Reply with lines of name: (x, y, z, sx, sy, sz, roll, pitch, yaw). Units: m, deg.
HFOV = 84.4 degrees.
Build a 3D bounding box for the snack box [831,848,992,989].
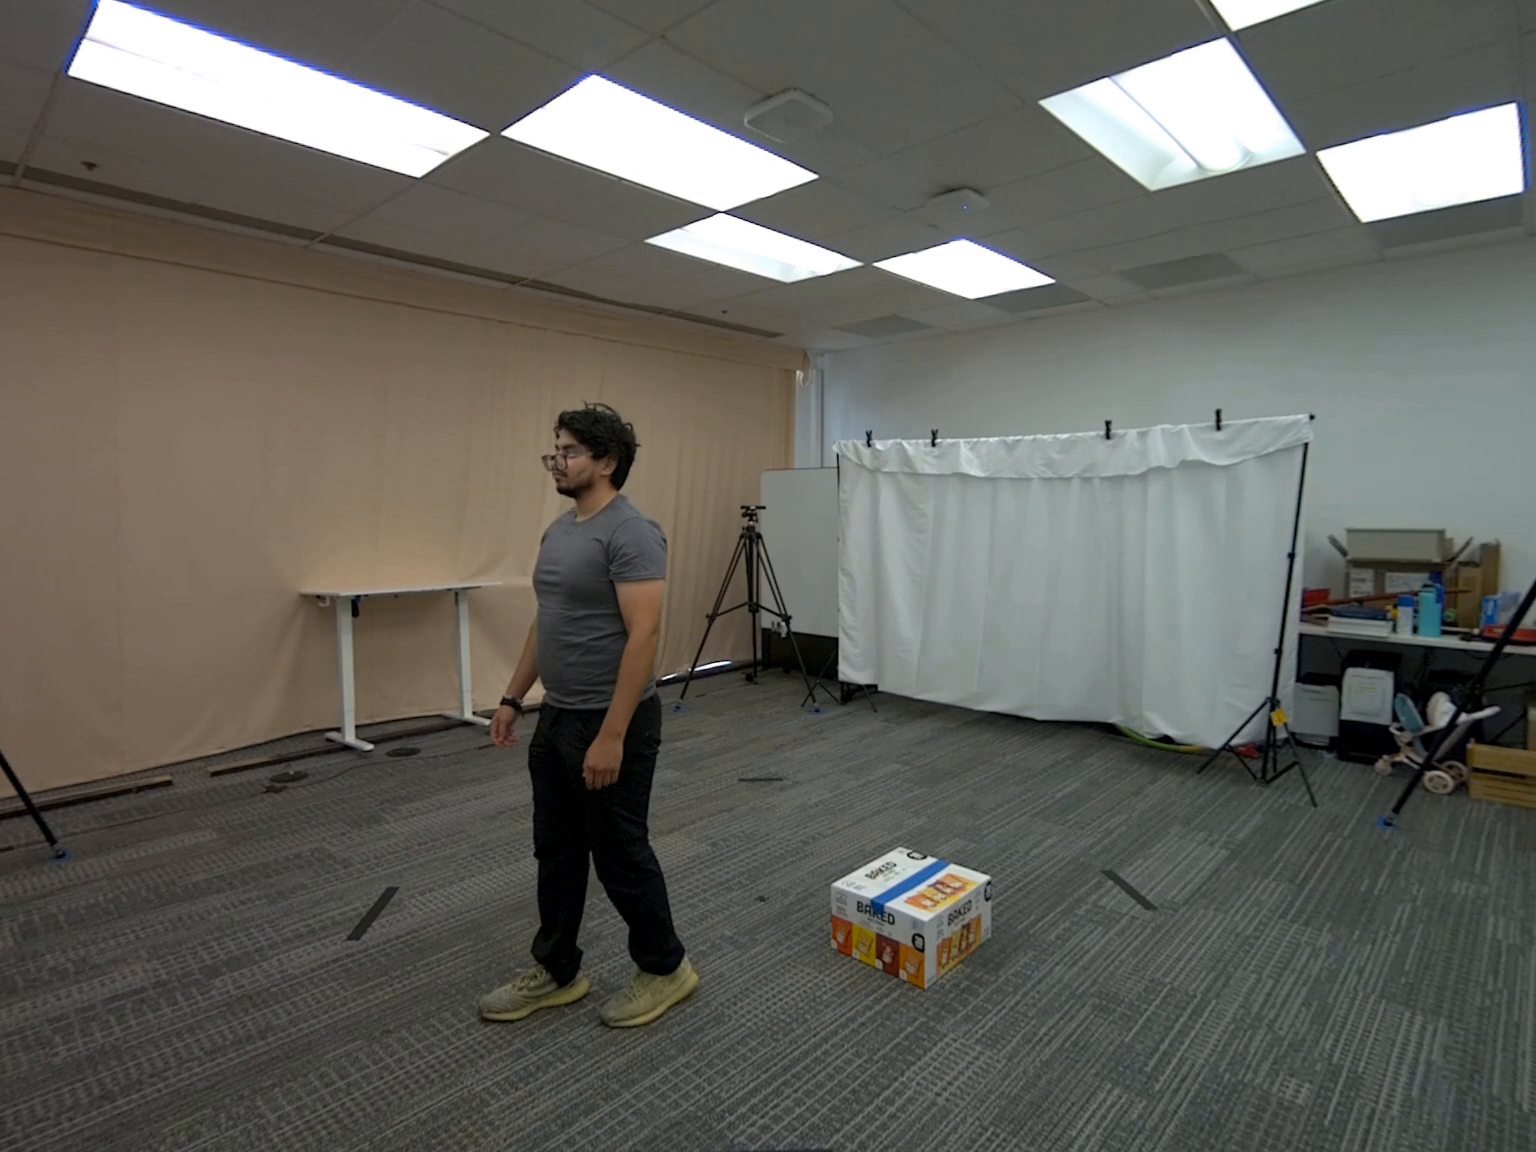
snack box: (0.462, 1.068, 2.670, 0.352, 0.205, 0.393, 4, 6, 42)
